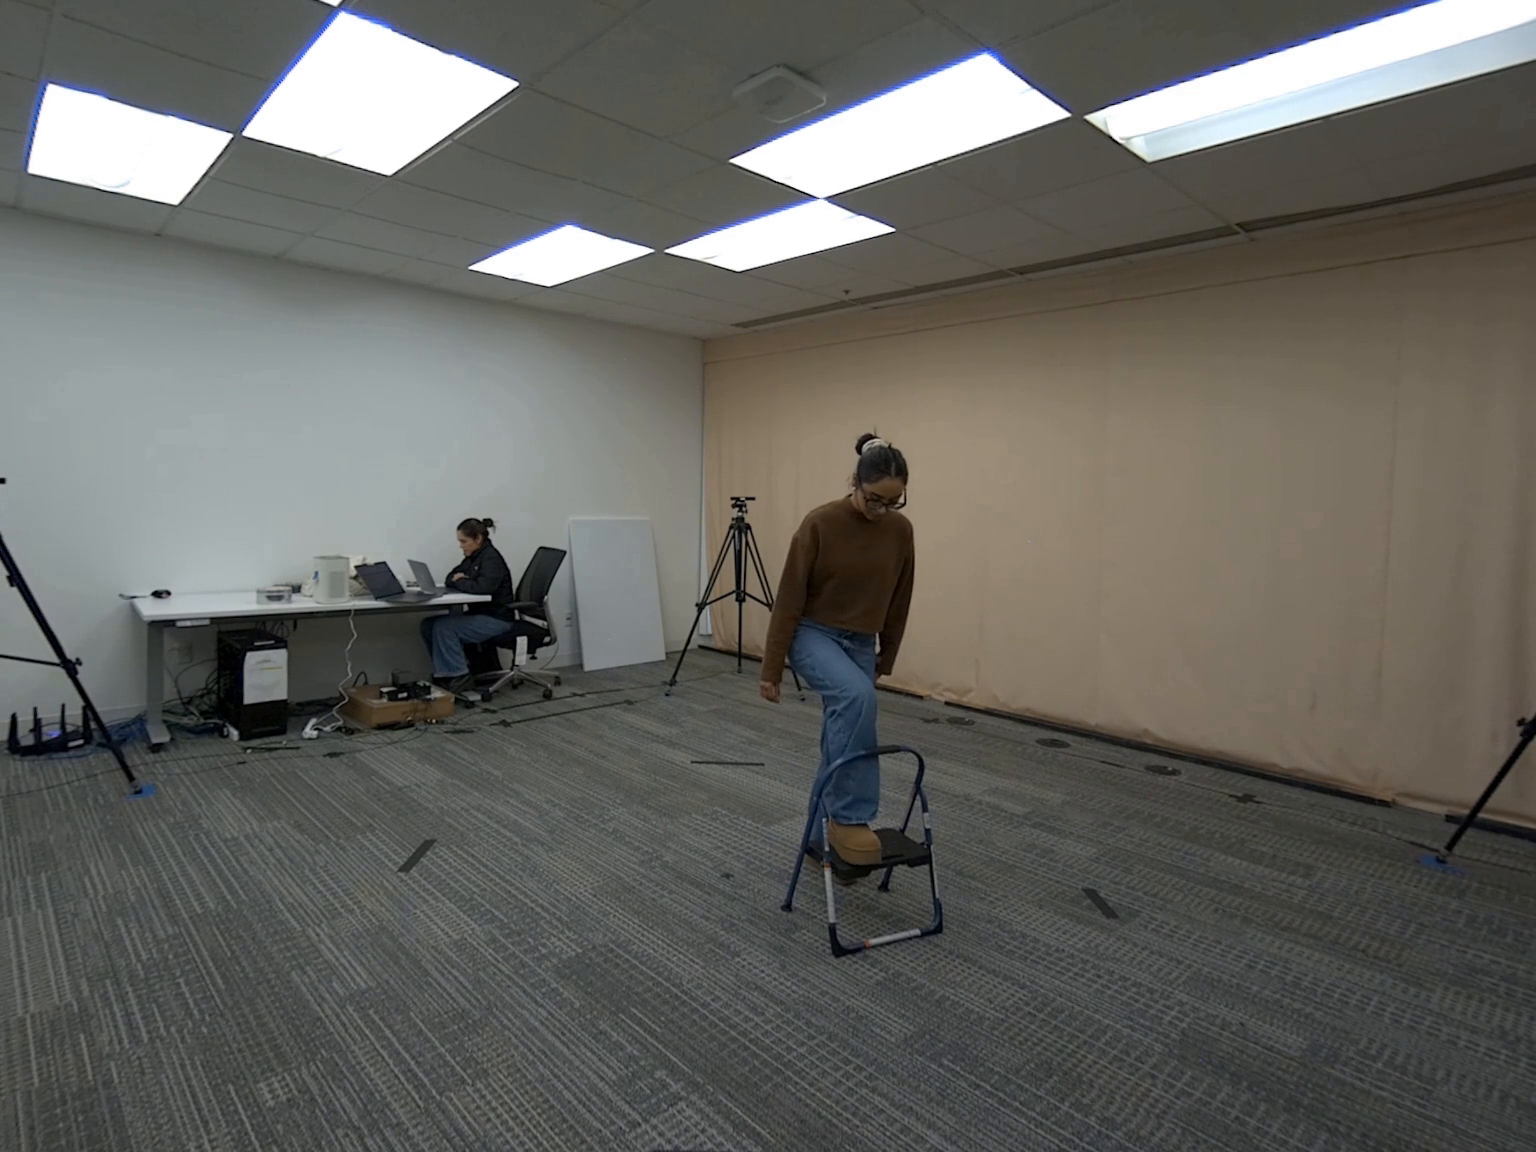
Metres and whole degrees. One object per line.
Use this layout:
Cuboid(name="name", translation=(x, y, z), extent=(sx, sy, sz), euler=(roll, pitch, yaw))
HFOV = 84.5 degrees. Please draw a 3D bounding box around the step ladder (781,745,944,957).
Cuboid(name="step ladder", translation=(0.314, 0.845, 2.782), extent=(0.422, 0.604, 0.357), euler=(0, 4, -27))
